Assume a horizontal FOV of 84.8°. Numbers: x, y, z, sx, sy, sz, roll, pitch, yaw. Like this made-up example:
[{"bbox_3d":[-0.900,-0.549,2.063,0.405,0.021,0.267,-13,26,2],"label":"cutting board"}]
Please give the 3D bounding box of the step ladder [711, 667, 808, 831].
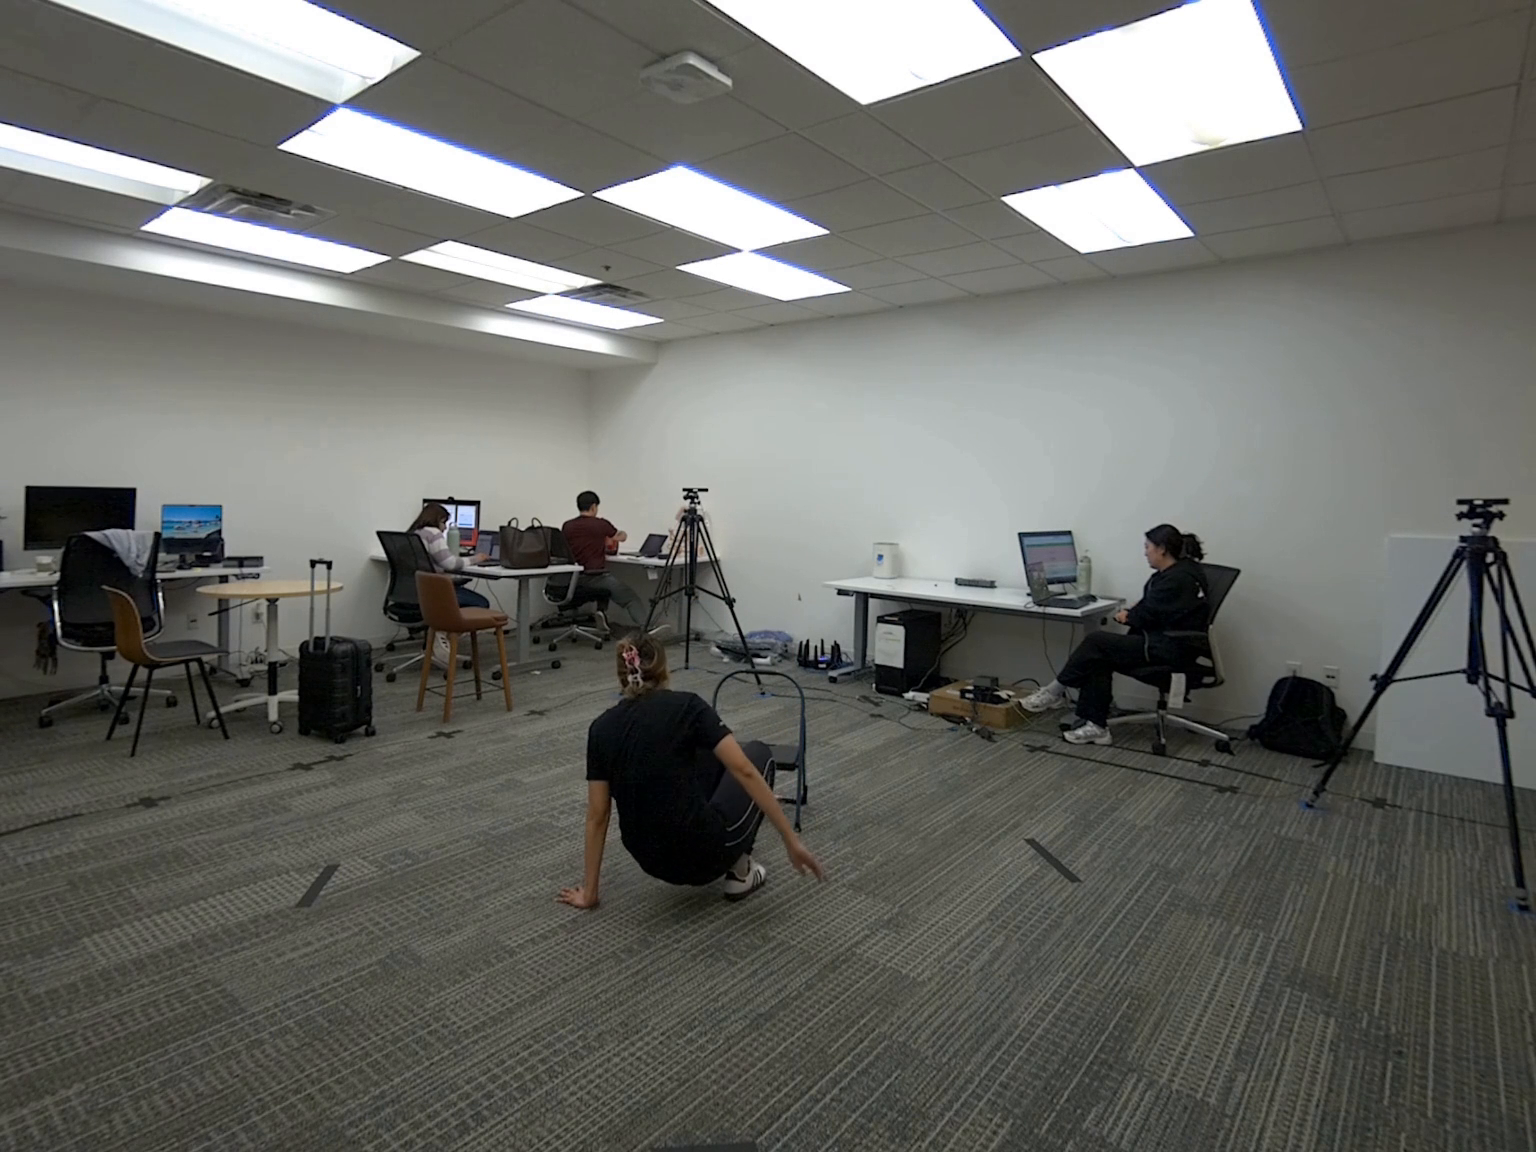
[{"bbox_3d":[-0.050,0.715,3.660,0.436,0.604,0.346,2,4,10],"label":"step ladder"}]
